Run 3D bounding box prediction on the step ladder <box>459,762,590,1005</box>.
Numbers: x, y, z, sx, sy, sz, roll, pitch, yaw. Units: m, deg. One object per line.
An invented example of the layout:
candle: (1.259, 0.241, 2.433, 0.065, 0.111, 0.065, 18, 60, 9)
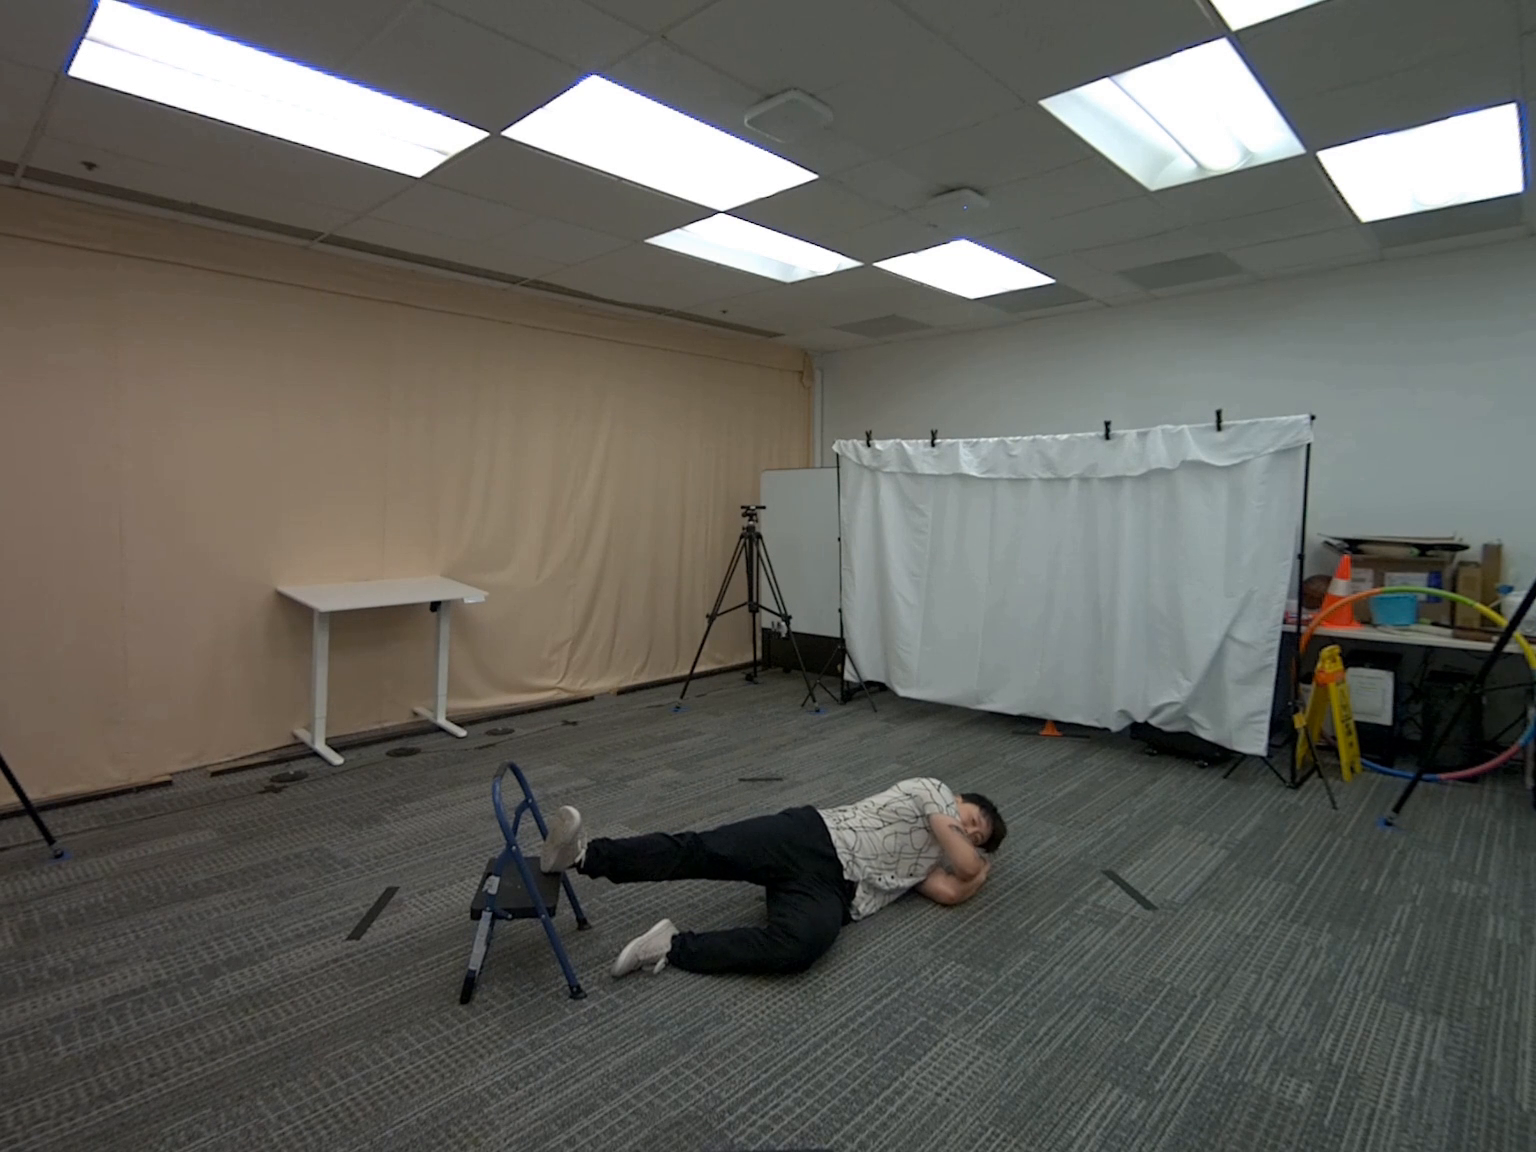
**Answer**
step ladder: (-0.734, 0.888, 2.555, 0.346, 0.605, 0.435, -1, 3, -10)
